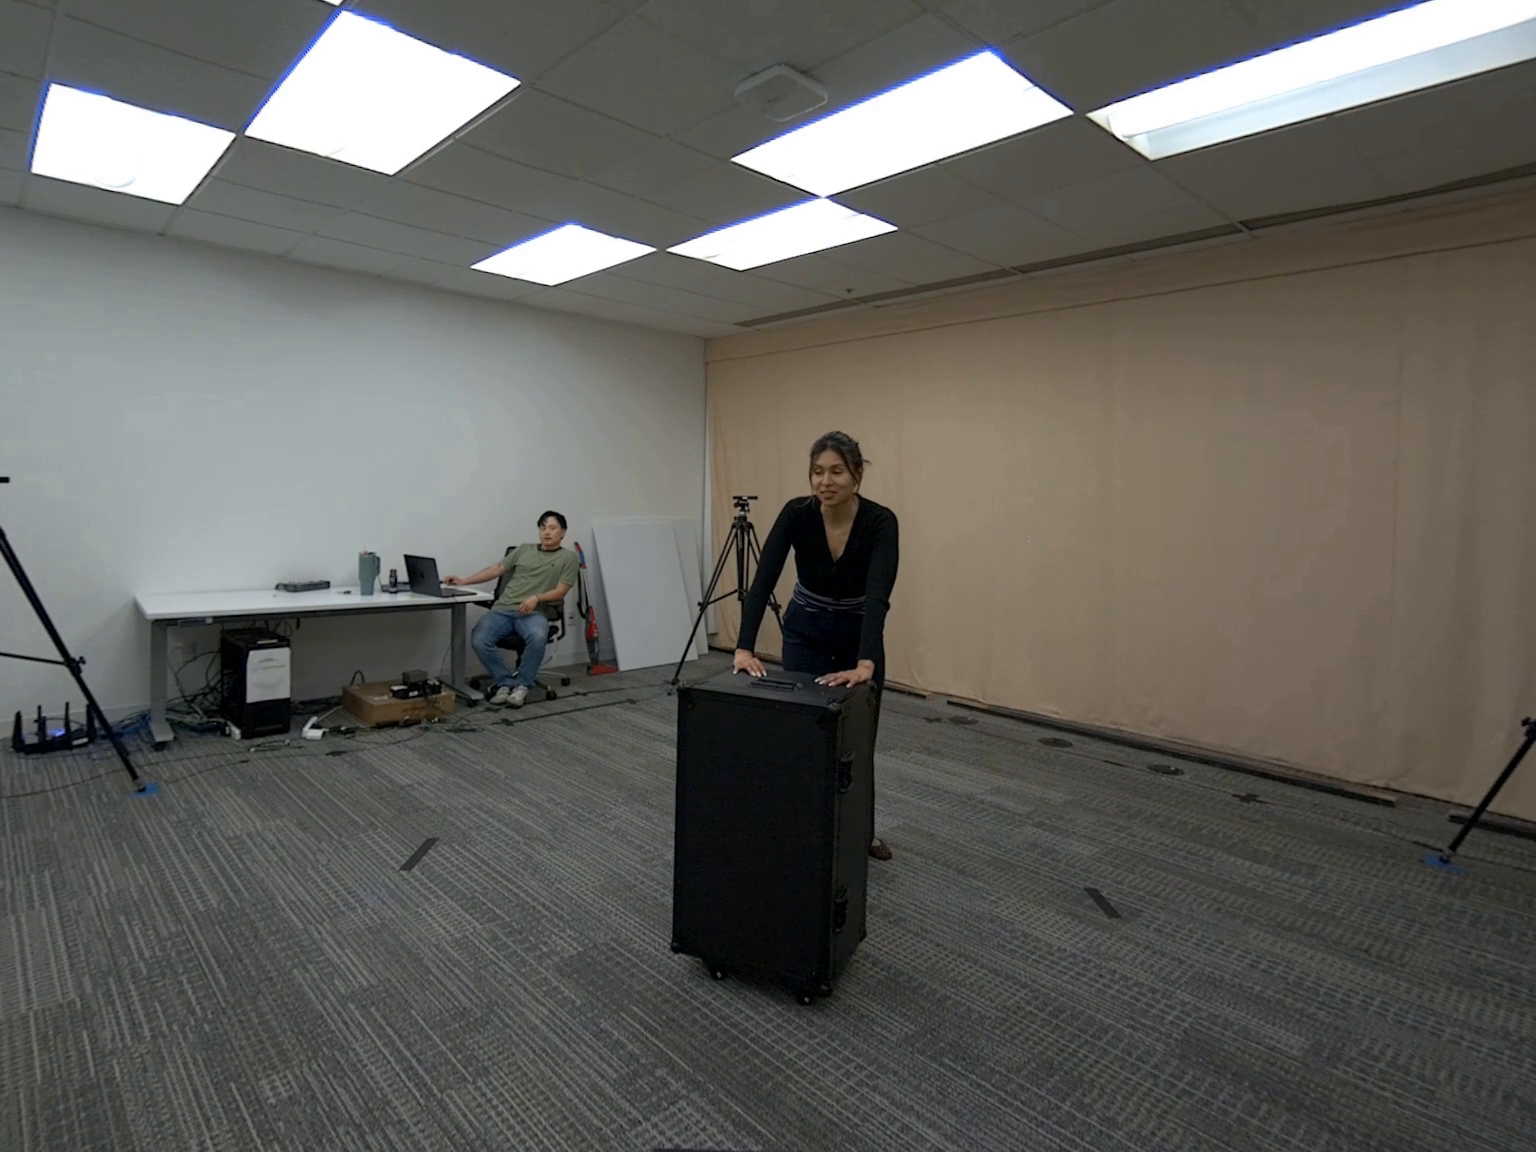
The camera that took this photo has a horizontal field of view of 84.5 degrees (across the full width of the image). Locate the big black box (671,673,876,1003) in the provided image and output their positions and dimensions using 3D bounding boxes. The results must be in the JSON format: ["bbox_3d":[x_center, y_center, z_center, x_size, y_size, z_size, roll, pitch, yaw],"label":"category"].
[{"bbox_3d":[0.009,0.741,2.487,0.531,0.860,0.389,3,3,24],"label":"big black box"}]
